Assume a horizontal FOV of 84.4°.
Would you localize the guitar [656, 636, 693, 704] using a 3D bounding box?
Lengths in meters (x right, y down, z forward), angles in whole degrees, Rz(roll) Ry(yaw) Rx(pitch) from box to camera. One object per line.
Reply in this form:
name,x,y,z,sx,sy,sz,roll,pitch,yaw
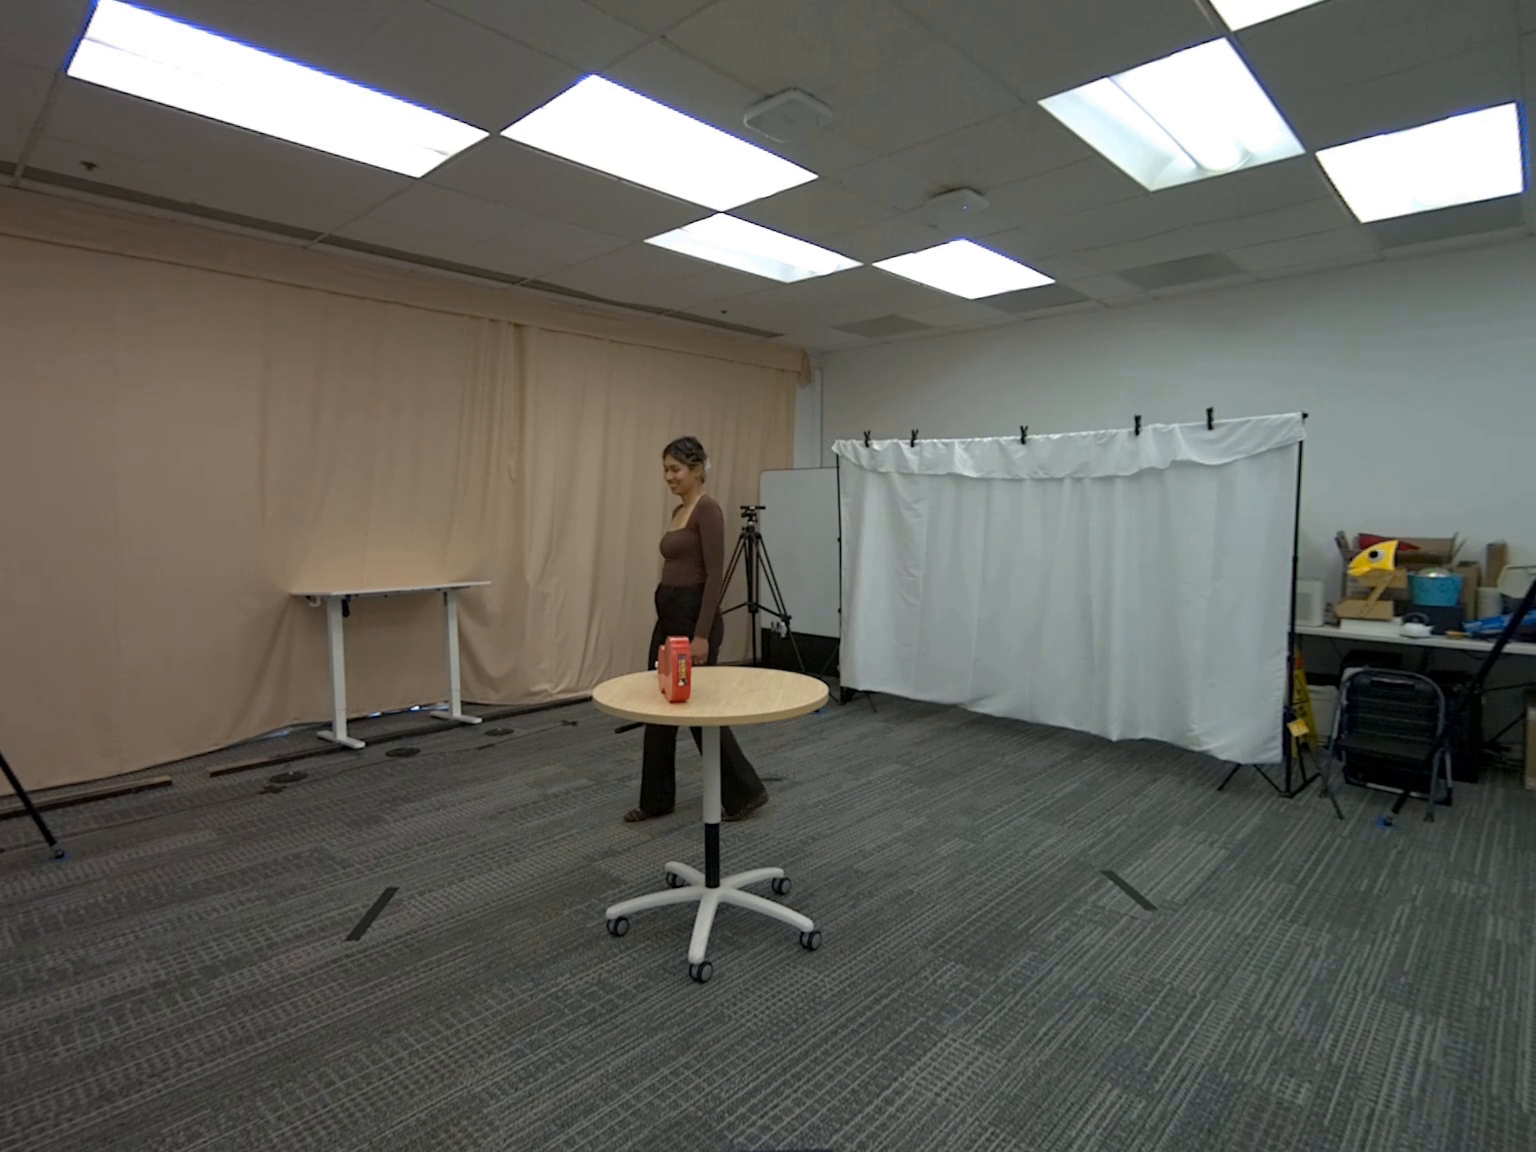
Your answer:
guitar,-0.322,0.325,2.732,0.069,0.195,0.501,0,-14,-16
